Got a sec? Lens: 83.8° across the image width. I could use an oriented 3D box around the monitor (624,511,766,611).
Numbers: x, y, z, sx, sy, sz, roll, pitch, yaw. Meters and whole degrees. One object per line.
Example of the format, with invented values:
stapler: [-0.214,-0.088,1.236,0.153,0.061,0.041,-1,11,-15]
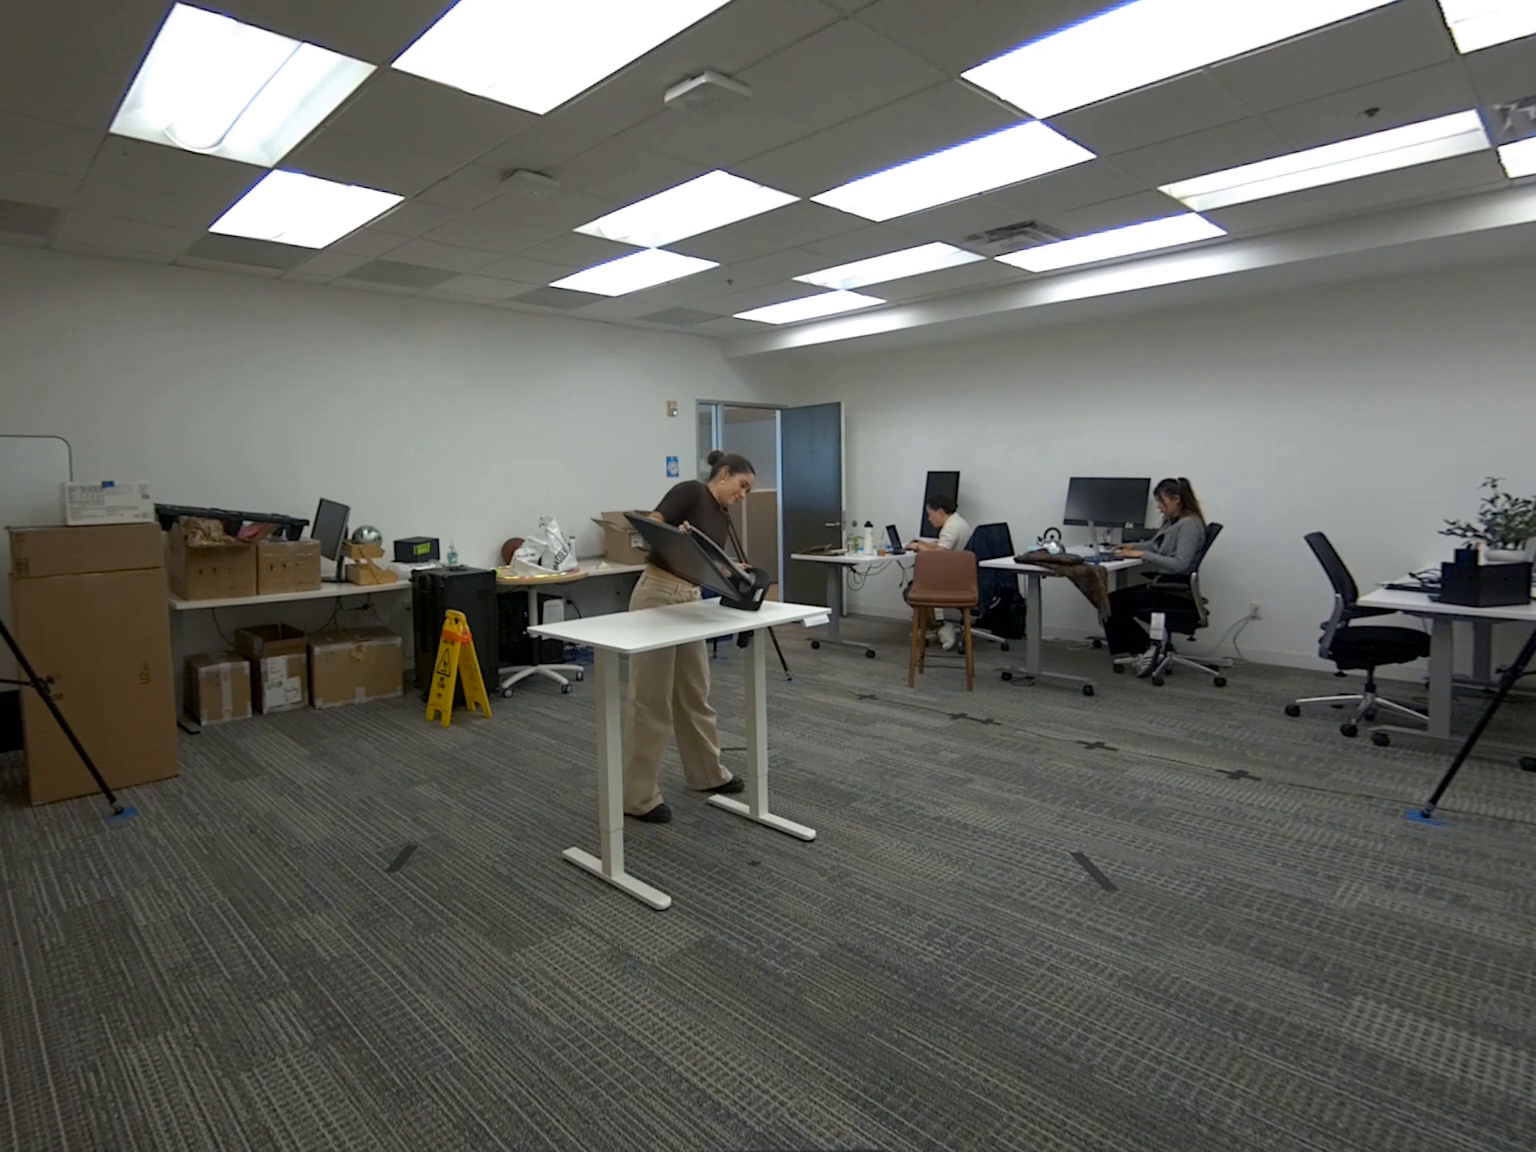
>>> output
monitor: [-0.254,-0.064,3.290,0.506,0.188,0.555,36,-13,-29]
